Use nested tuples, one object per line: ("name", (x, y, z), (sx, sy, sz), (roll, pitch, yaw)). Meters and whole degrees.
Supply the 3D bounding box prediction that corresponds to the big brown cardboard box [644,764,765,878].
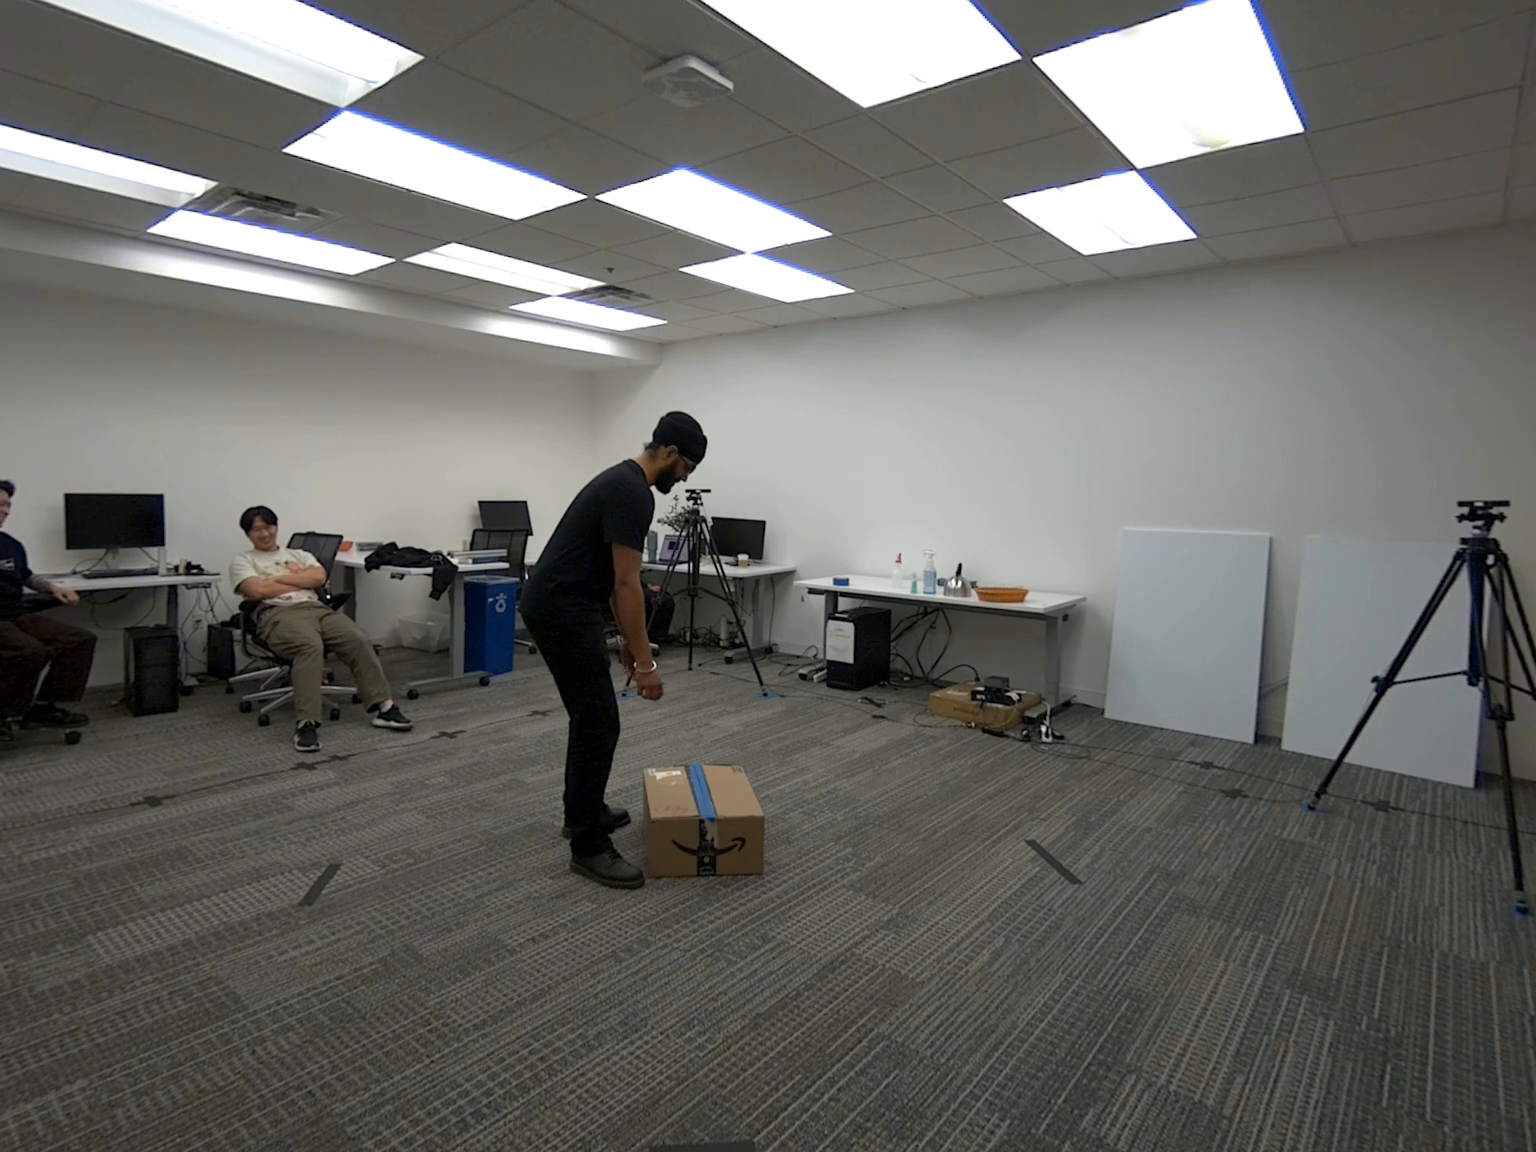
("big brown cardboard box", (-0.274, 0.948, 3.333), (0.414, 0.232, 0.597), (1, 6, -10))
